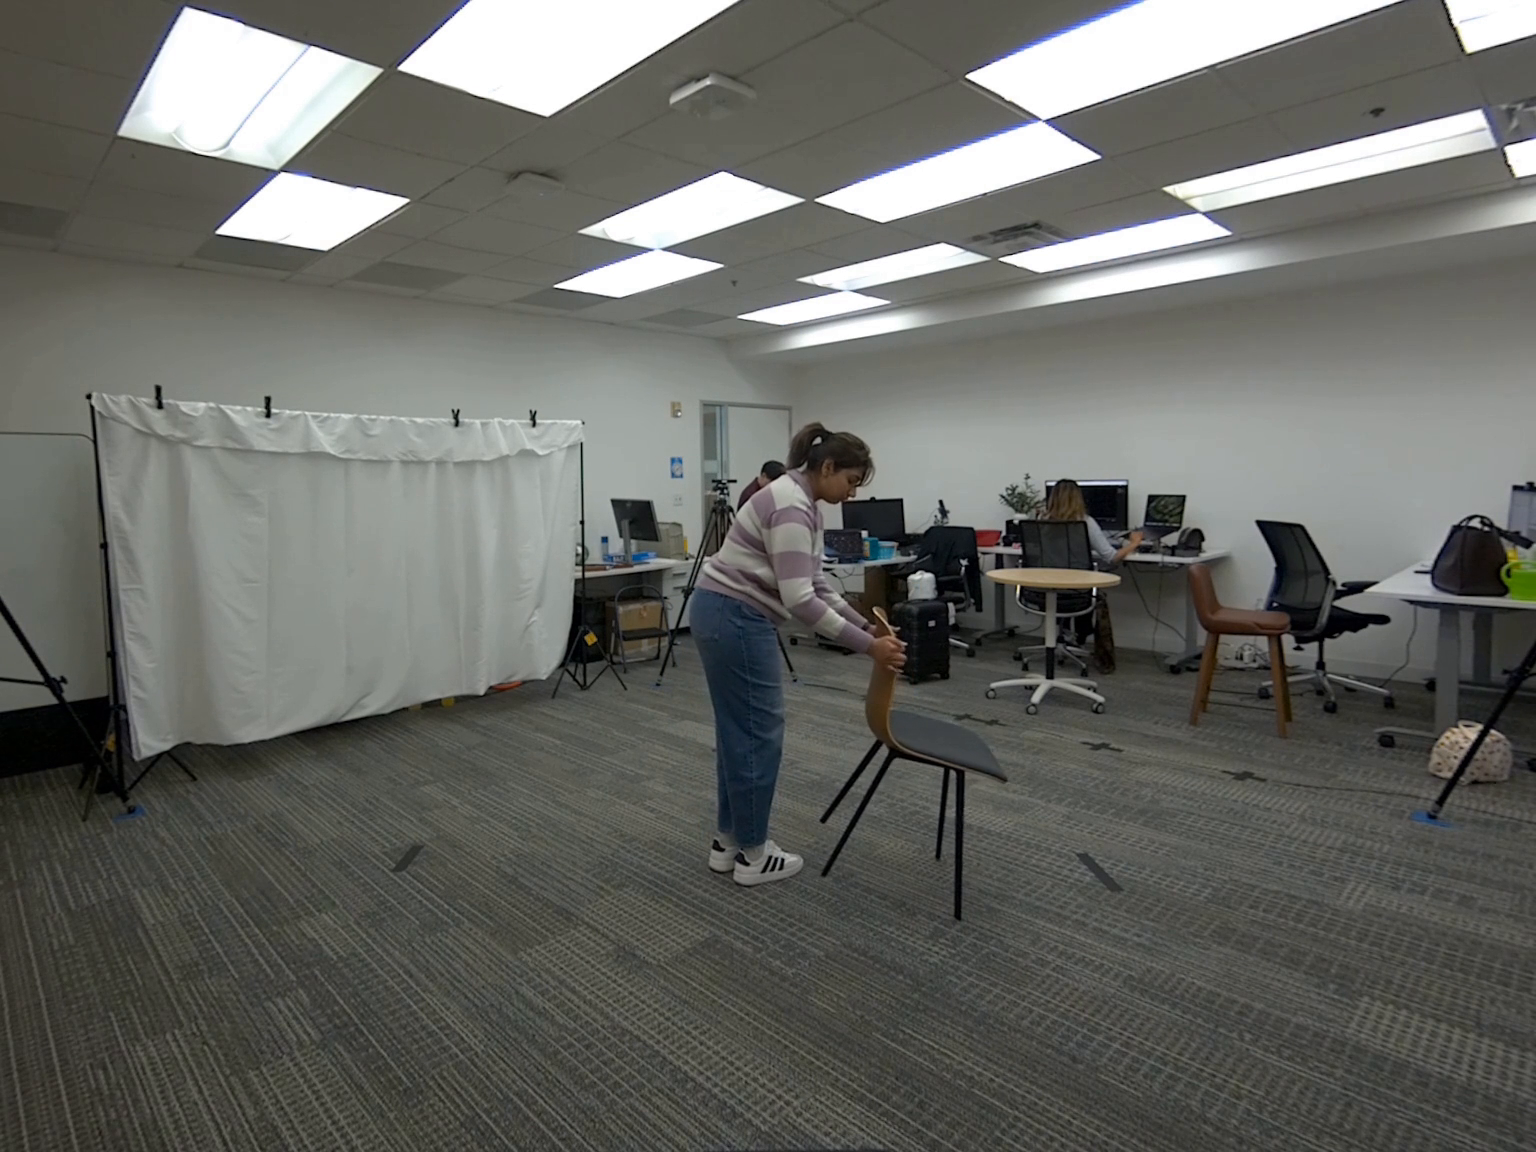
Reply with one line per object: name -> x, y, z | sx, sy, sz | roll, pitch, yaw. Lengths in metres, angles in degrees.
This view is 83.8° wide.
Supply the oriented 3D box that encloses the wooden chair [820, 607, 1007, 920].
wooden chair -> 0.520, 0.589, 2.882 | 0.526, 0.874, 0.477 | 12, 5, 4
